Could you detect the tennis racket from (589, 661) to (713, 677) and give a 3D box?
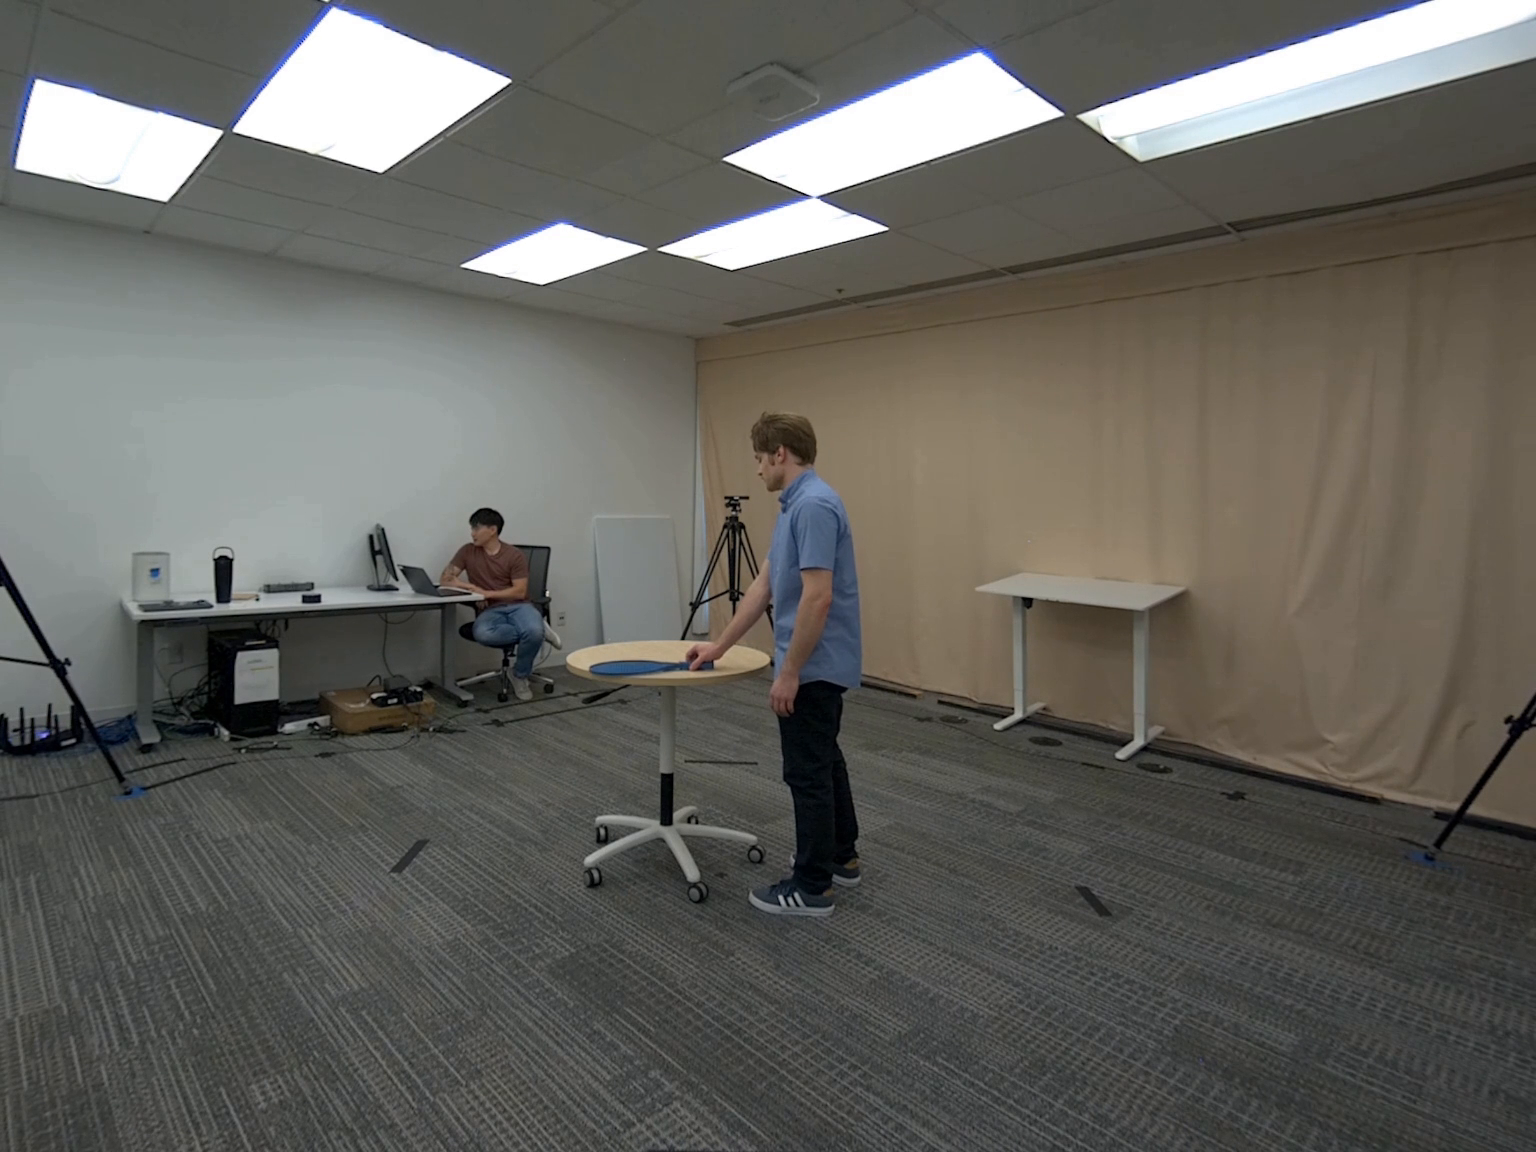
[{"bbox_3d":[-0.409,0.318,2.931,0.431,0.031,0.215,-1,5,-5],"label":"tennis racket"}]
